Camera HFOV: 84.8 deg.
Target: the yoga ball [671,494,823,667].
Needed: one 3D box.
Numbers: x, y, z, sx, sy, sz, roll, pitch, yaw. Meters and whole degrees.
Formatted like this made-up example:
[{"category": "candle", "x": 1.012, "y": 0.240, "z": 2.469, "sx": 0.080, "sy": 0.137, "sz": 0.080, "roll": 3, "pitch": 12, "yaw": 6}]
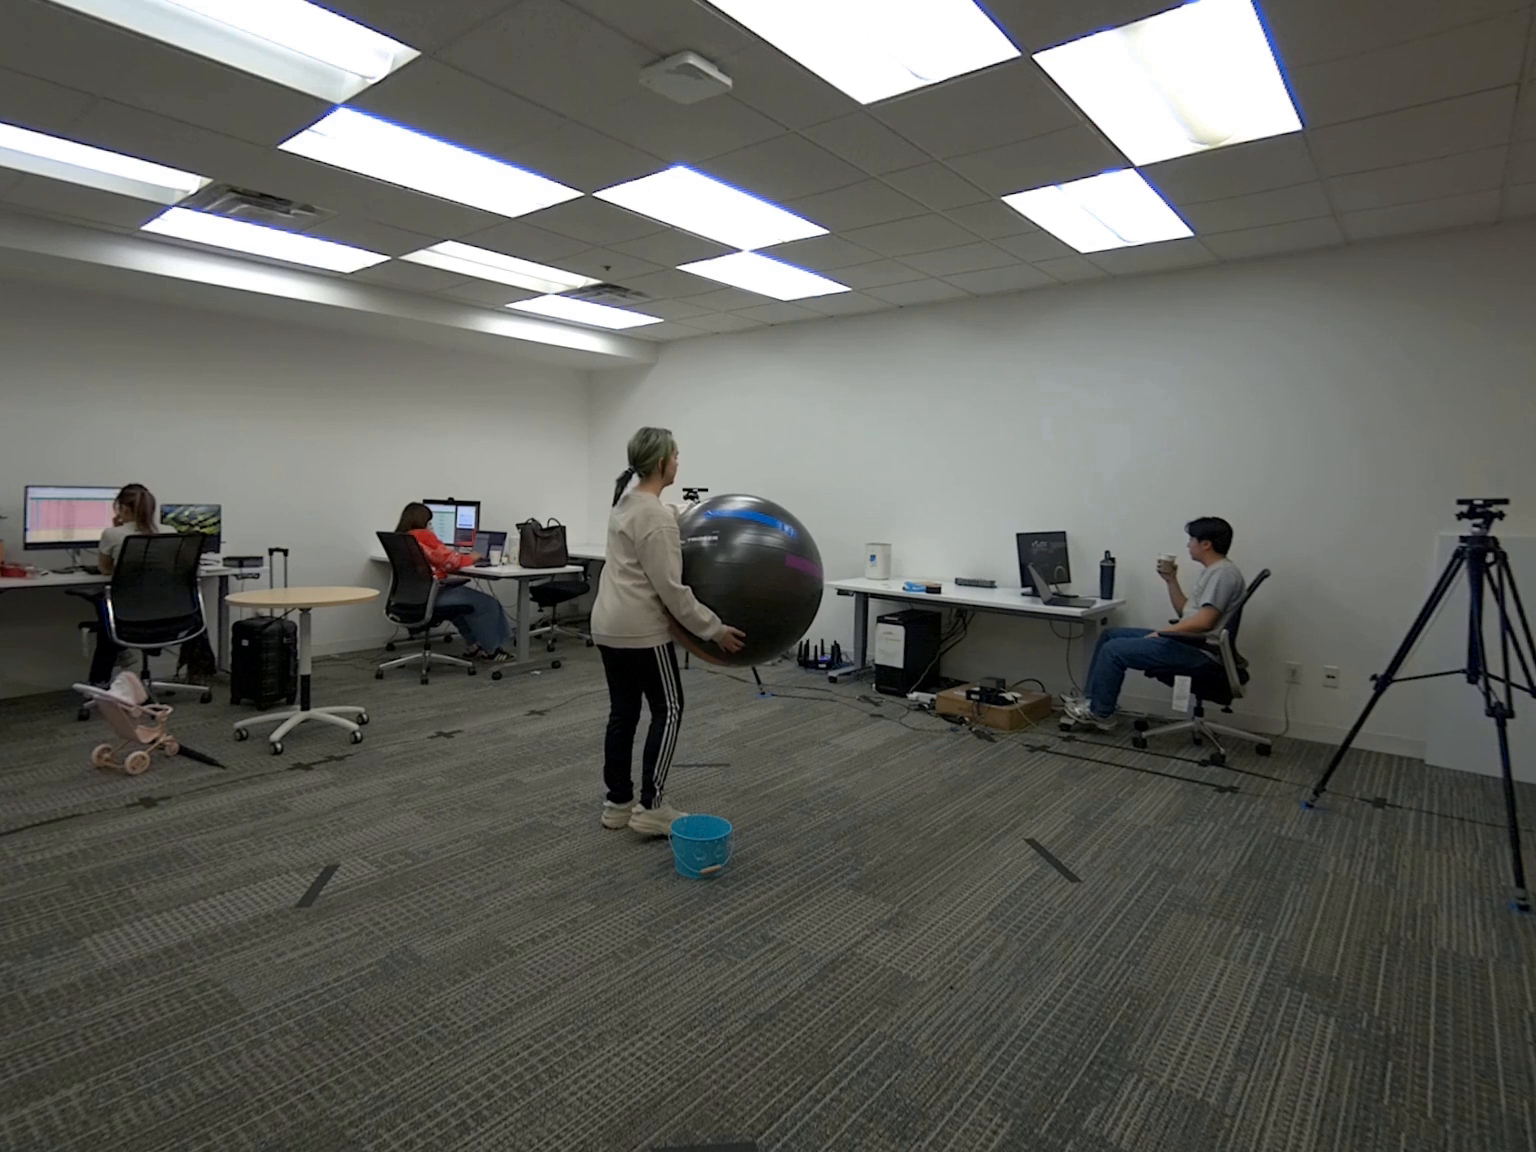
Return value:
[{"category": "yoga ball", "x": -0.133, "y": 0.024, "z": 3.765, "sx": 0.757, "sy": 0.756, "sz": 0.762, "roll": 1, "pitch": 4, "yaw": -2}]
